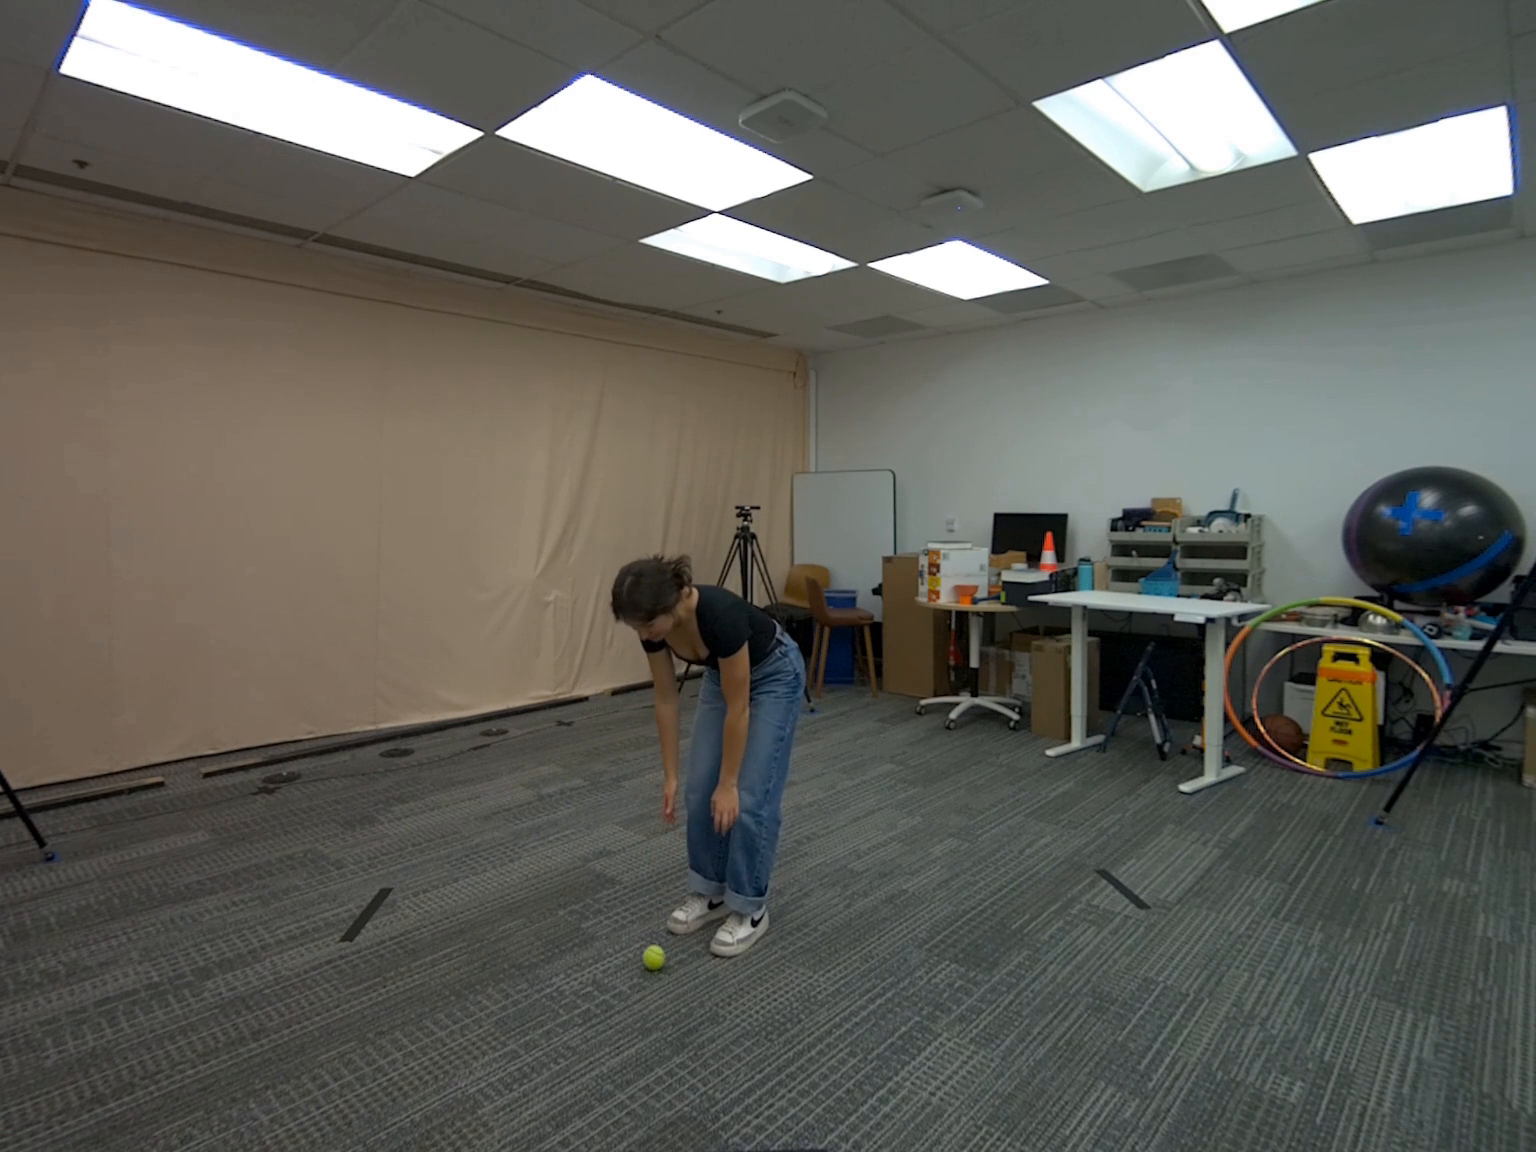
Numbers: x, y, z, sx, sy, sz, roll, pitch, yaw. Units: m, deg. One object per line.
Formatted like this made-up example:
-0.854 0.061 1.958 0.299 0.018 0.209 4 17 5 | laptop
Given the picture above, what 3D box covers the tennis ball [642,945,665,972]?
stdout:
-0.337 1.123 2.534 0.066 0.066 0.067 0 4 -2 | tennis ball
